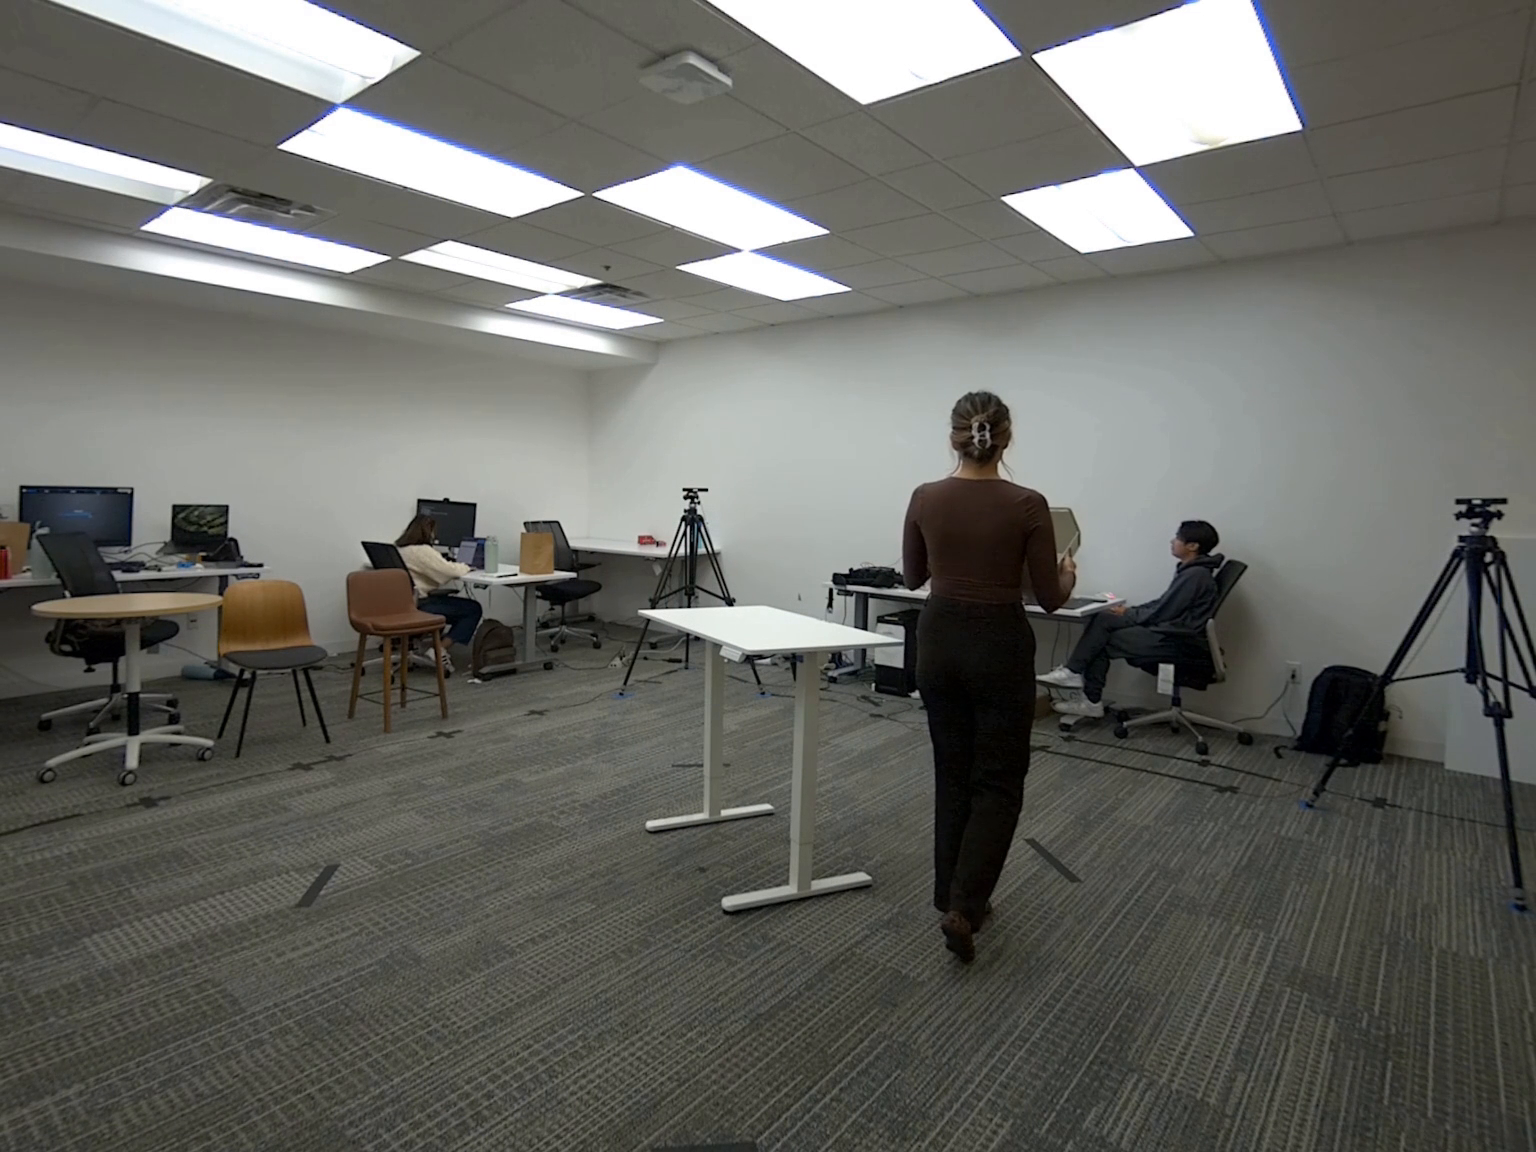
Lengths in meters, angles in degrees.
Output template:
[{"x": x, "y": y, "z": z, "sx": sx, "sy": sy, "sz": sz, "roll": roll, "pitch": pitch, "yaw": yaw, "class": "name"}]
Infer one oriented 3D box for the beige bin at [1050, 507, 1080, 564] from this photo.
[{"x": 0.845, "y": -0.098, "z": 2.982, "sx": 0.389, "sy": 0.185, "sz": 0.417, "roll": 4, "pitch": 22, "yaw": 32, "class": "beige bin"}]
